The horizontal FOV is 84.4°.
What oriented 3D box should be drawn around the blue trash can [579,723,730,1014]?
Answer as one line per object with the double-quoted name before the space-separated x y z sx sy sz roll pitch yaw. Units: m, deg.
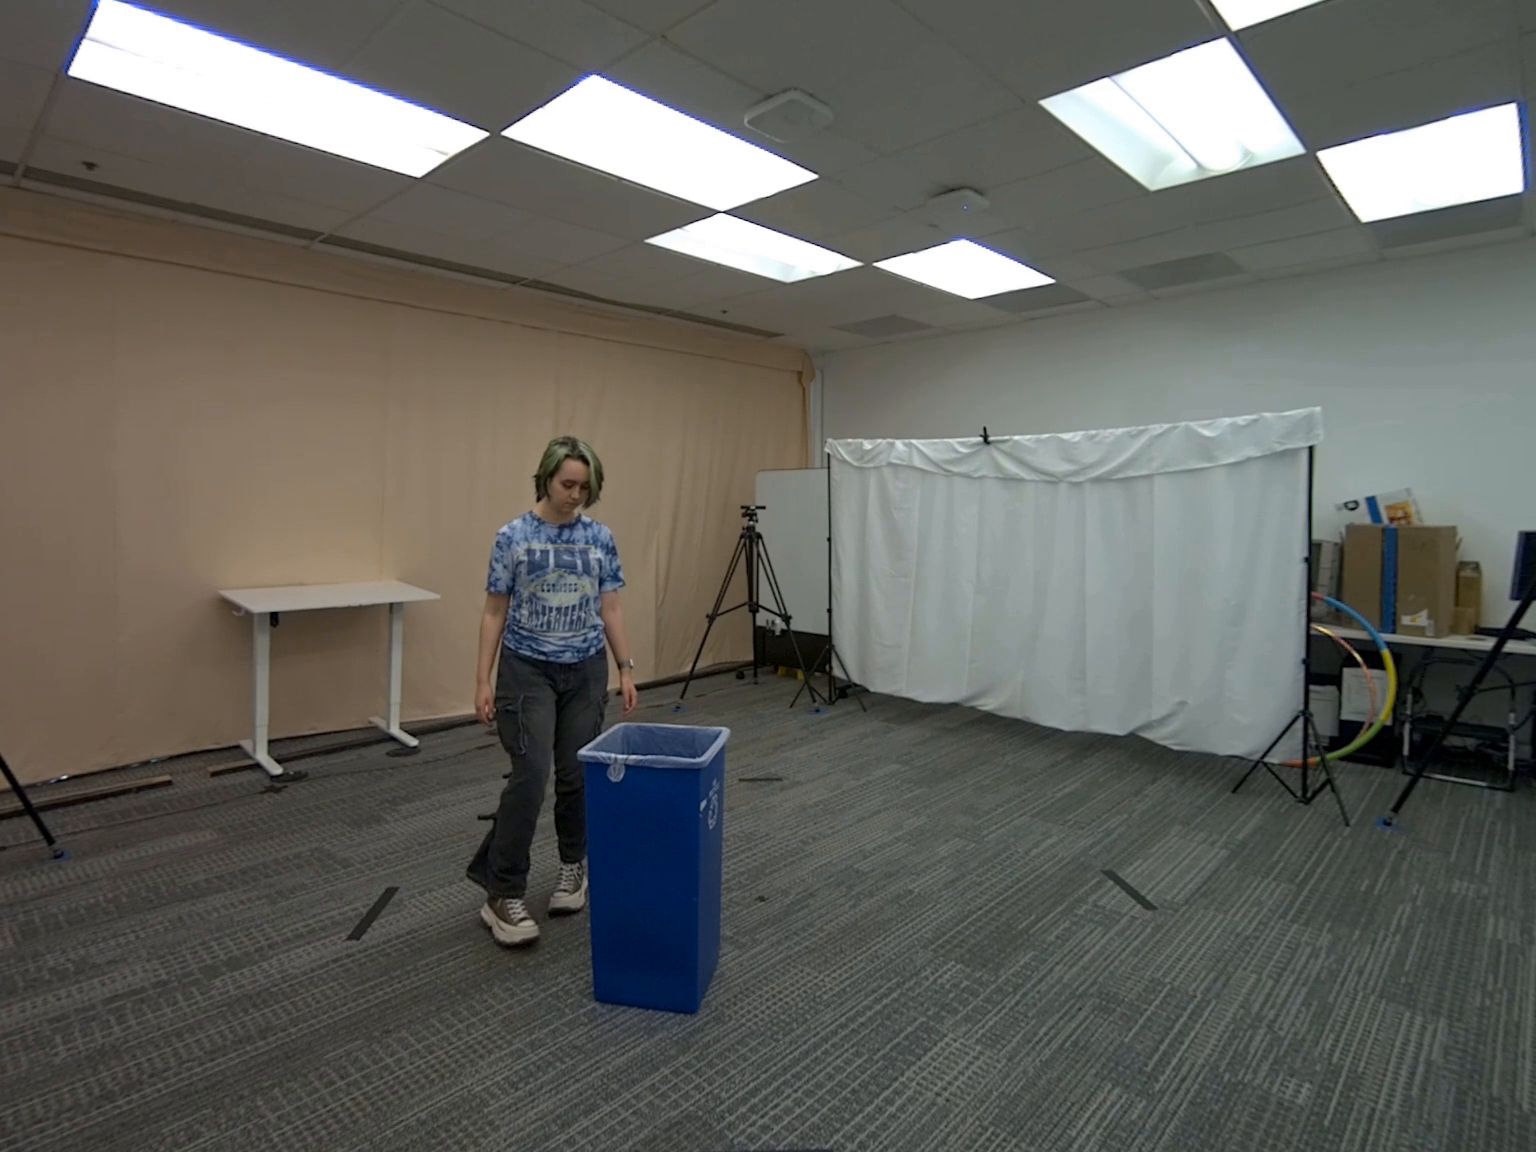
"blue trash can" -0.321 0.834 2.465 0.383 0.712 0.370 1 3 12
